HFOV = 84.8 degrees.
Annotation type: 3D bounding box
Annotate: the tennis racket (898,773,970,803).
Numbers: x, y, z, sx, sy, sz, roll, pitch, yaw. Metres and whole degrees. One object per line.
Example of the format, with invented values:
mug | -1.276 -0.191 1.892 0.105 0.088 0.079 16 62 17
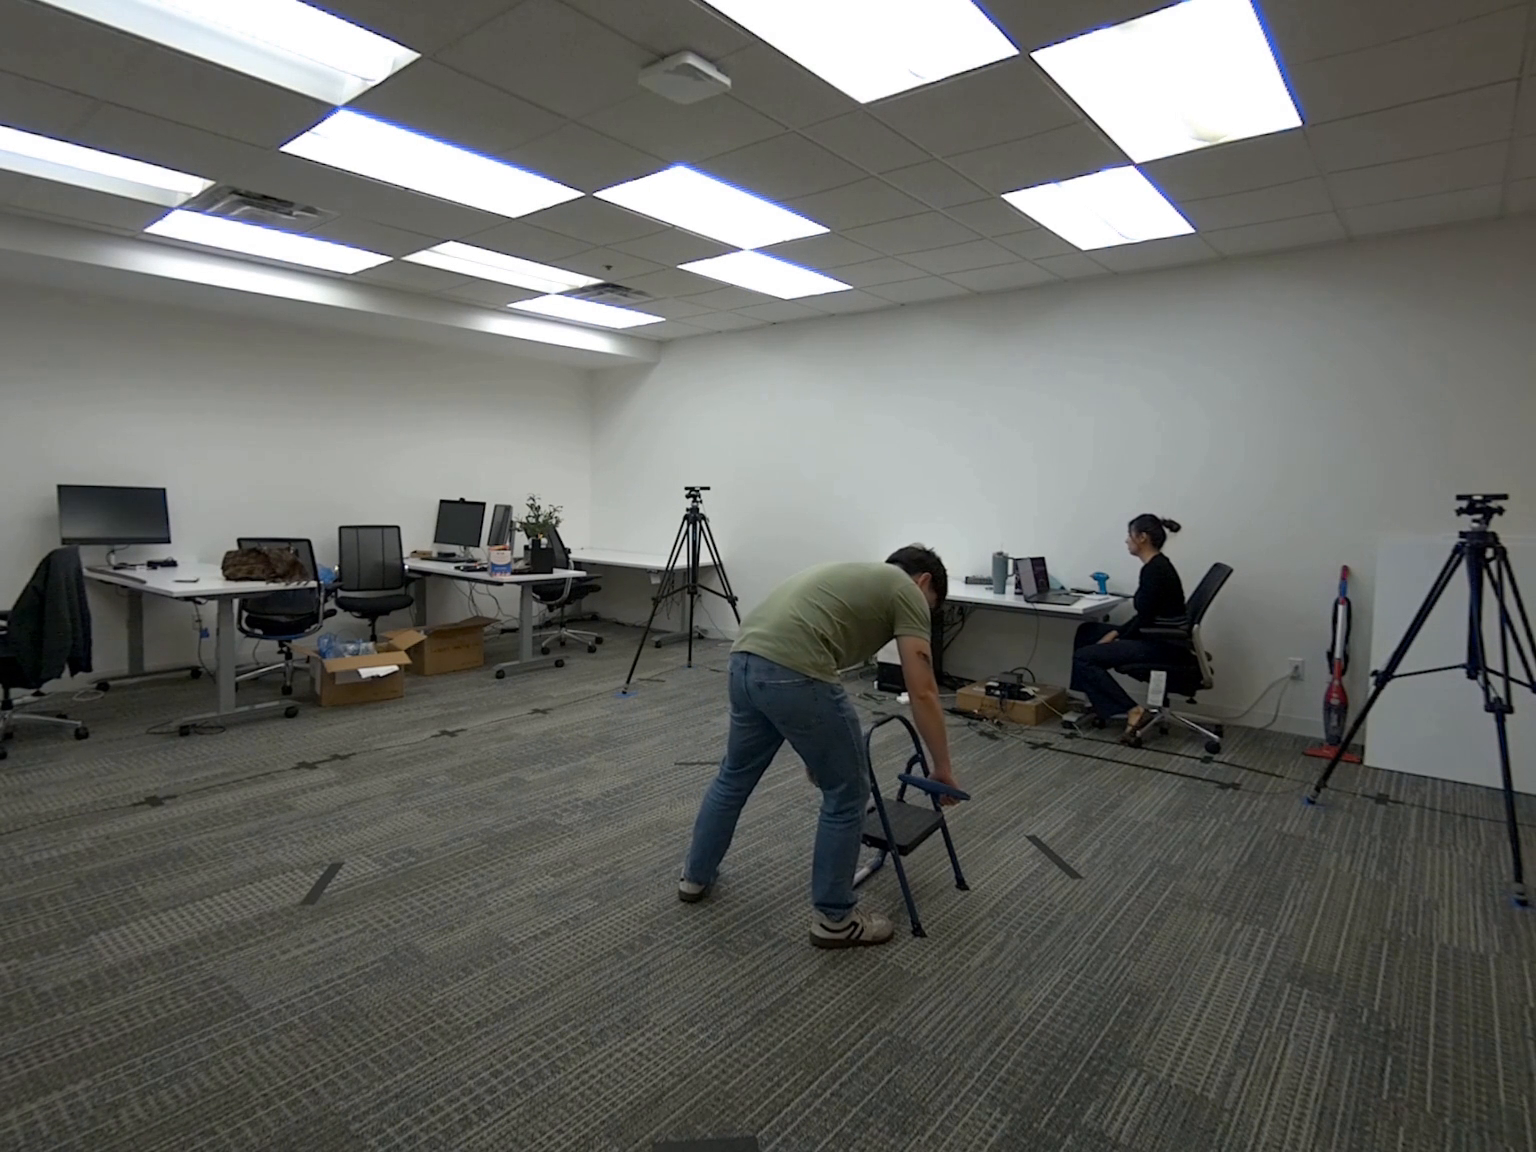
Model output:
tennis racket | 0.504 0.653 2.562 0.219 0.032 0.419 15 -16 18
